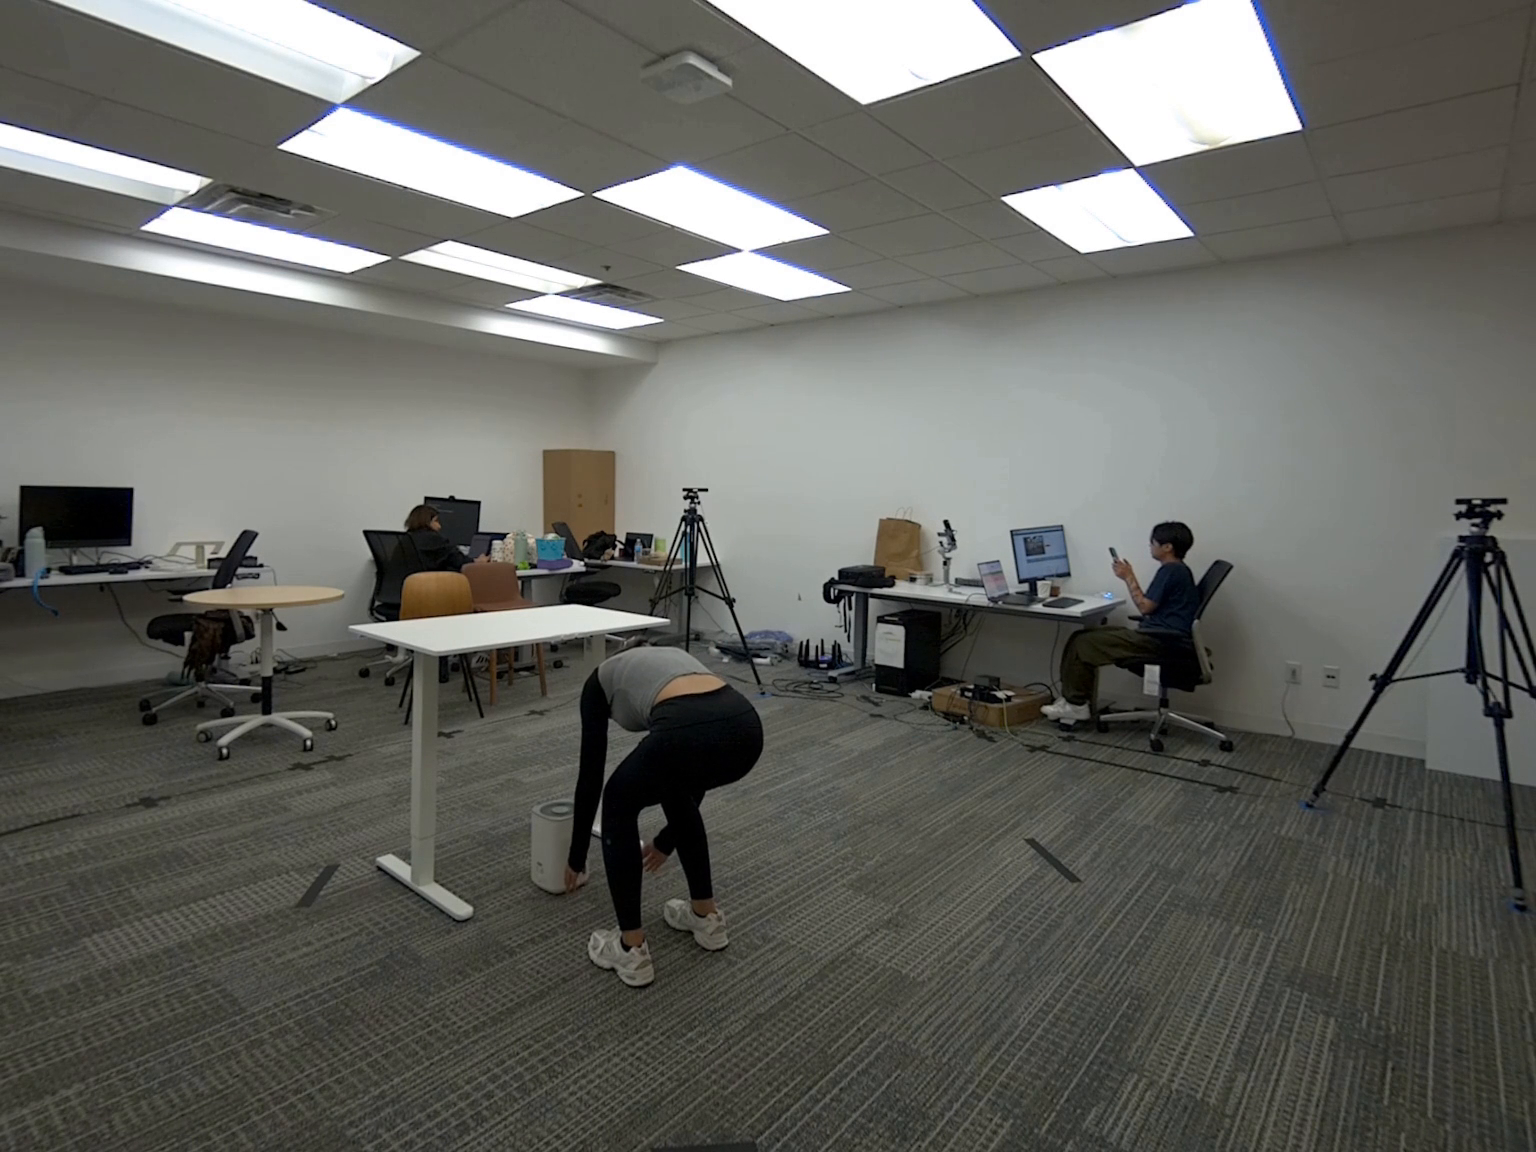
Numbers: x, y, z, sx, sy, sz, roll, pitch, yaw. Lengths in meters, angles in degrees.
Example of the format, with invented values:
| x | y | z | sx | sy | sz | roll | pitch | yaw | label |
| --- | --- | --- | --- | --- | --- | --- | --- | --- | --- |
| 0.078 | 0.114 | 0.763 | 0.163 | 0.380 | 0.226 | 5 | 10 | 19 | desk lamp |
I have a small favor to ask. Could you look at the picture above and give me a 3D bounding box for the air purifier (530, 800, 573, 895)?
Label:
| x | y | z | sx | sy | sz | roll | pitch | yaw | label |
| --- | --- | --- | --- | --- | --- | --- | --- | --- | --- |
| -0.739 | 0.941 | 2.966 | 0.177 | 0.264 | 0.166 | 3 | 5 | 38 | air purifier |
